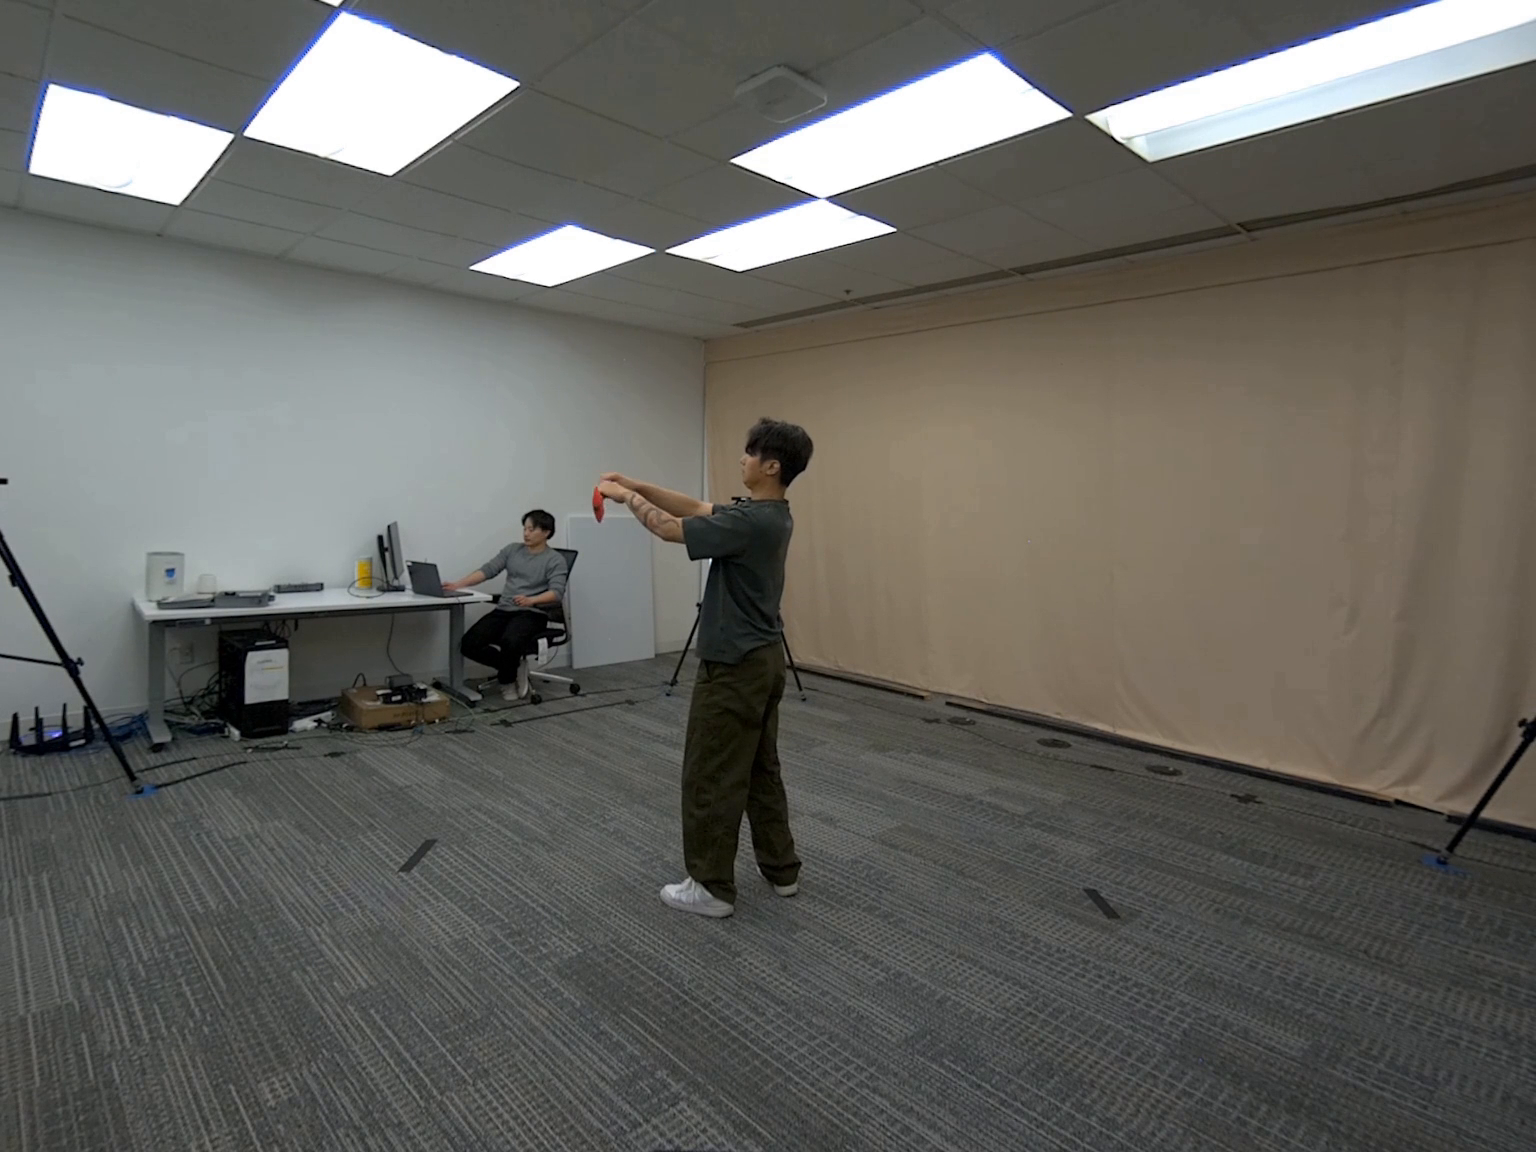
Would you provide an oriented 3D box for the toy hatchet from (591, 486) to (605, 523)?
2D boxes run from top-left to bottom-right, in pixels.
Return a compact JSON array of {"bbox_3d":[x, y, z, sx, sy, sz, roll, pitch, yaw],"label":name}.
[{"bbox_3d":[-0.580,-0.260,2.963,0.030,0.130,0.271,1,10,2],"label":"toy hatchet"}]
